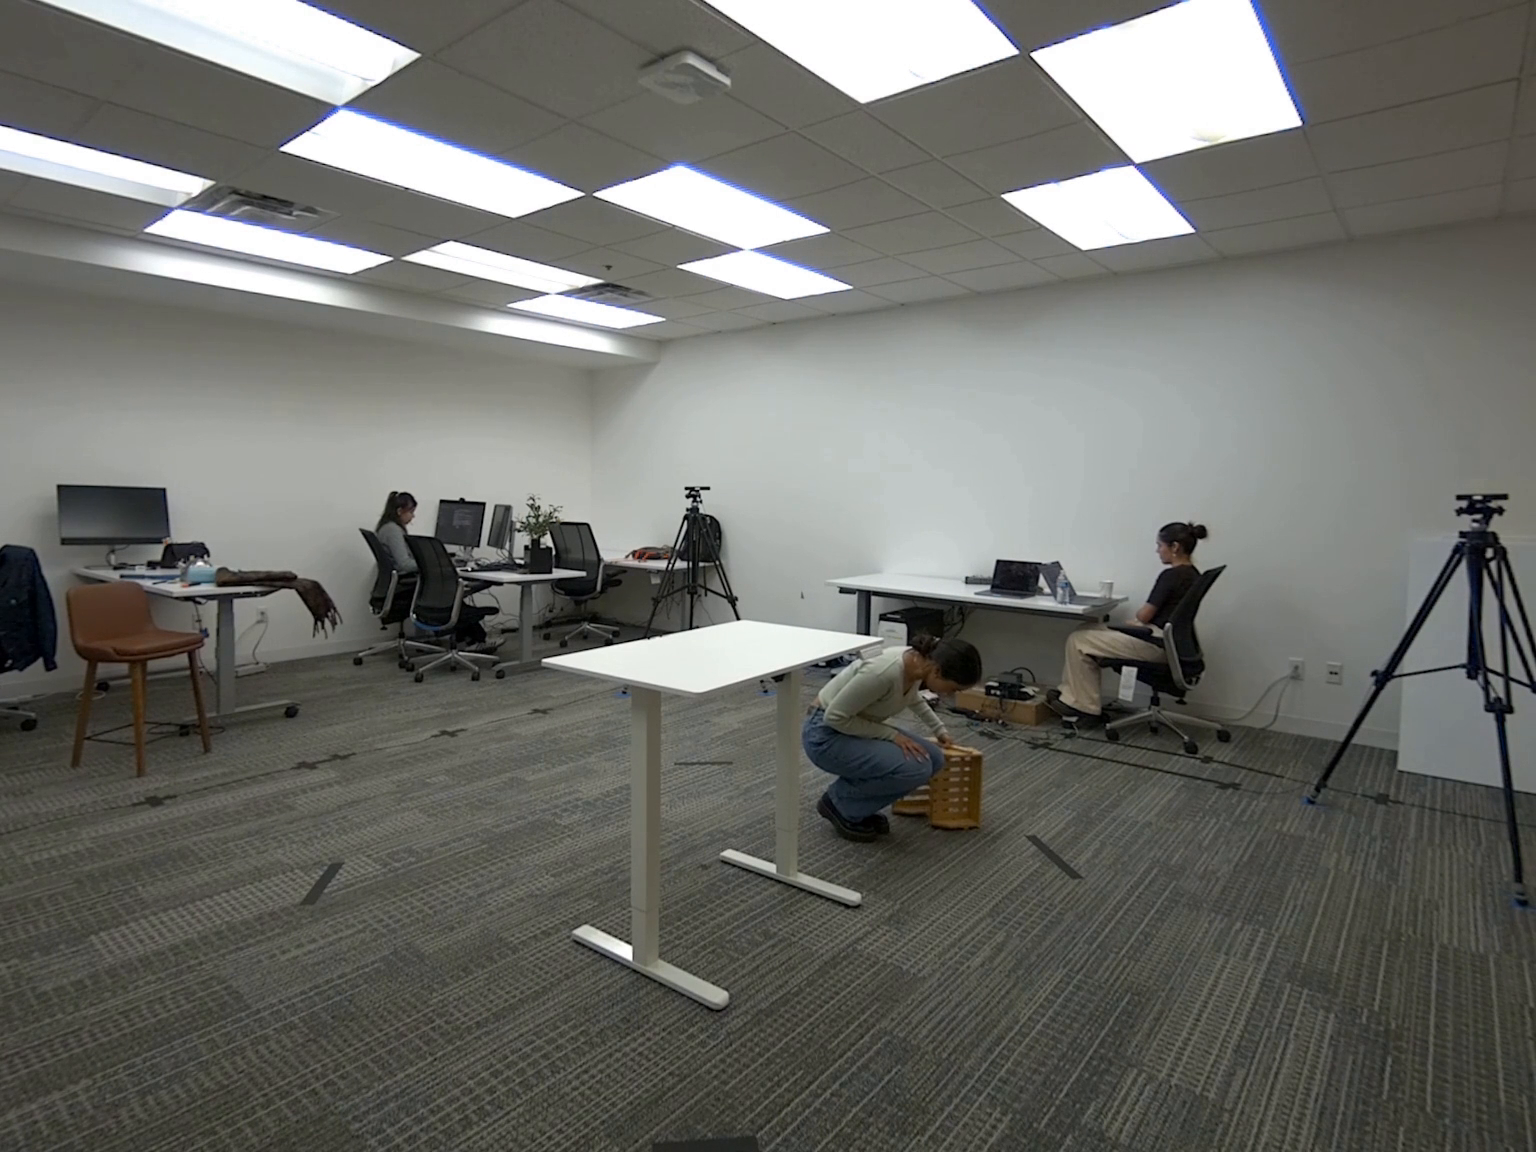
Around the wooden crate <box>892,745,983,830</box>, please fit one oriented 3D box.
[{"bbox_3d":[0.709,0.874,3.612,0.297,0.324,0.278,2,1,-17],"label":"wooden crate"}]
